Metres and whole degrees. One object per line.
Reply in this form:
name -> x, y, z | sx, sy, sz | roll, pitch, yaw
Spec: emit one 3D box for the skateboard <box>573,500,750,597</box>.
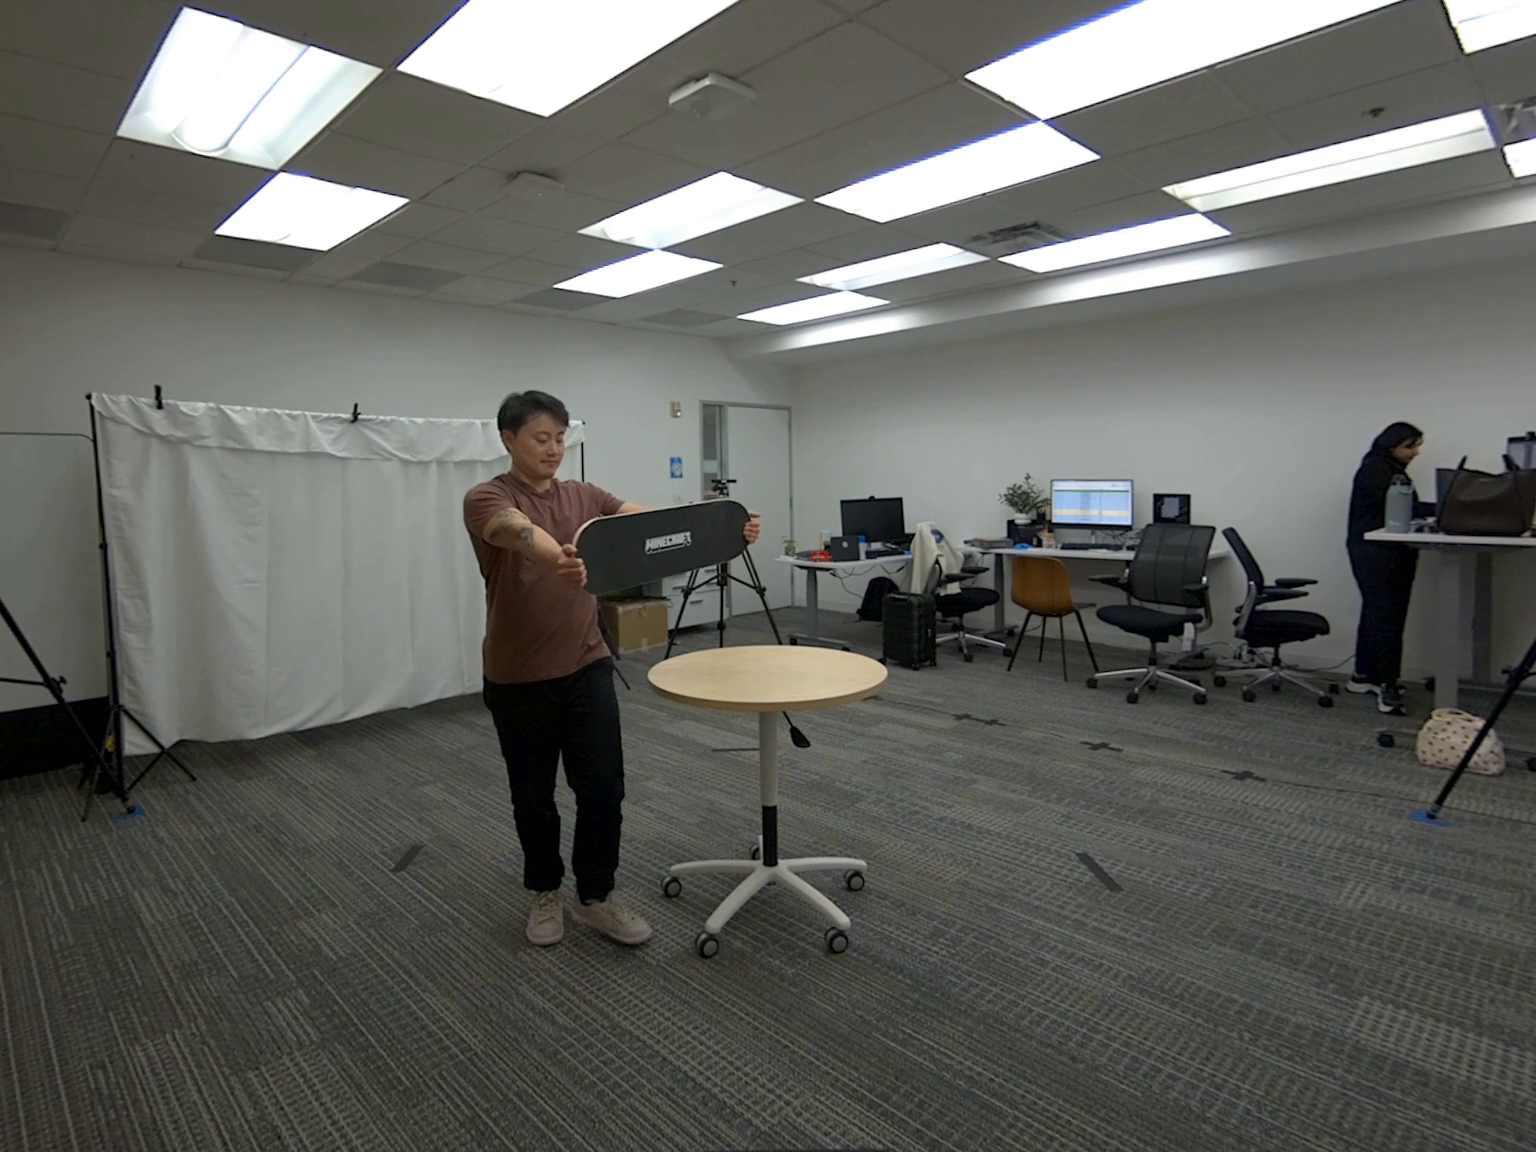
skateboard -> -0.303, -0.090, 2.388 | 0.113, 0.193, 0.769 | -6, 6, 35
